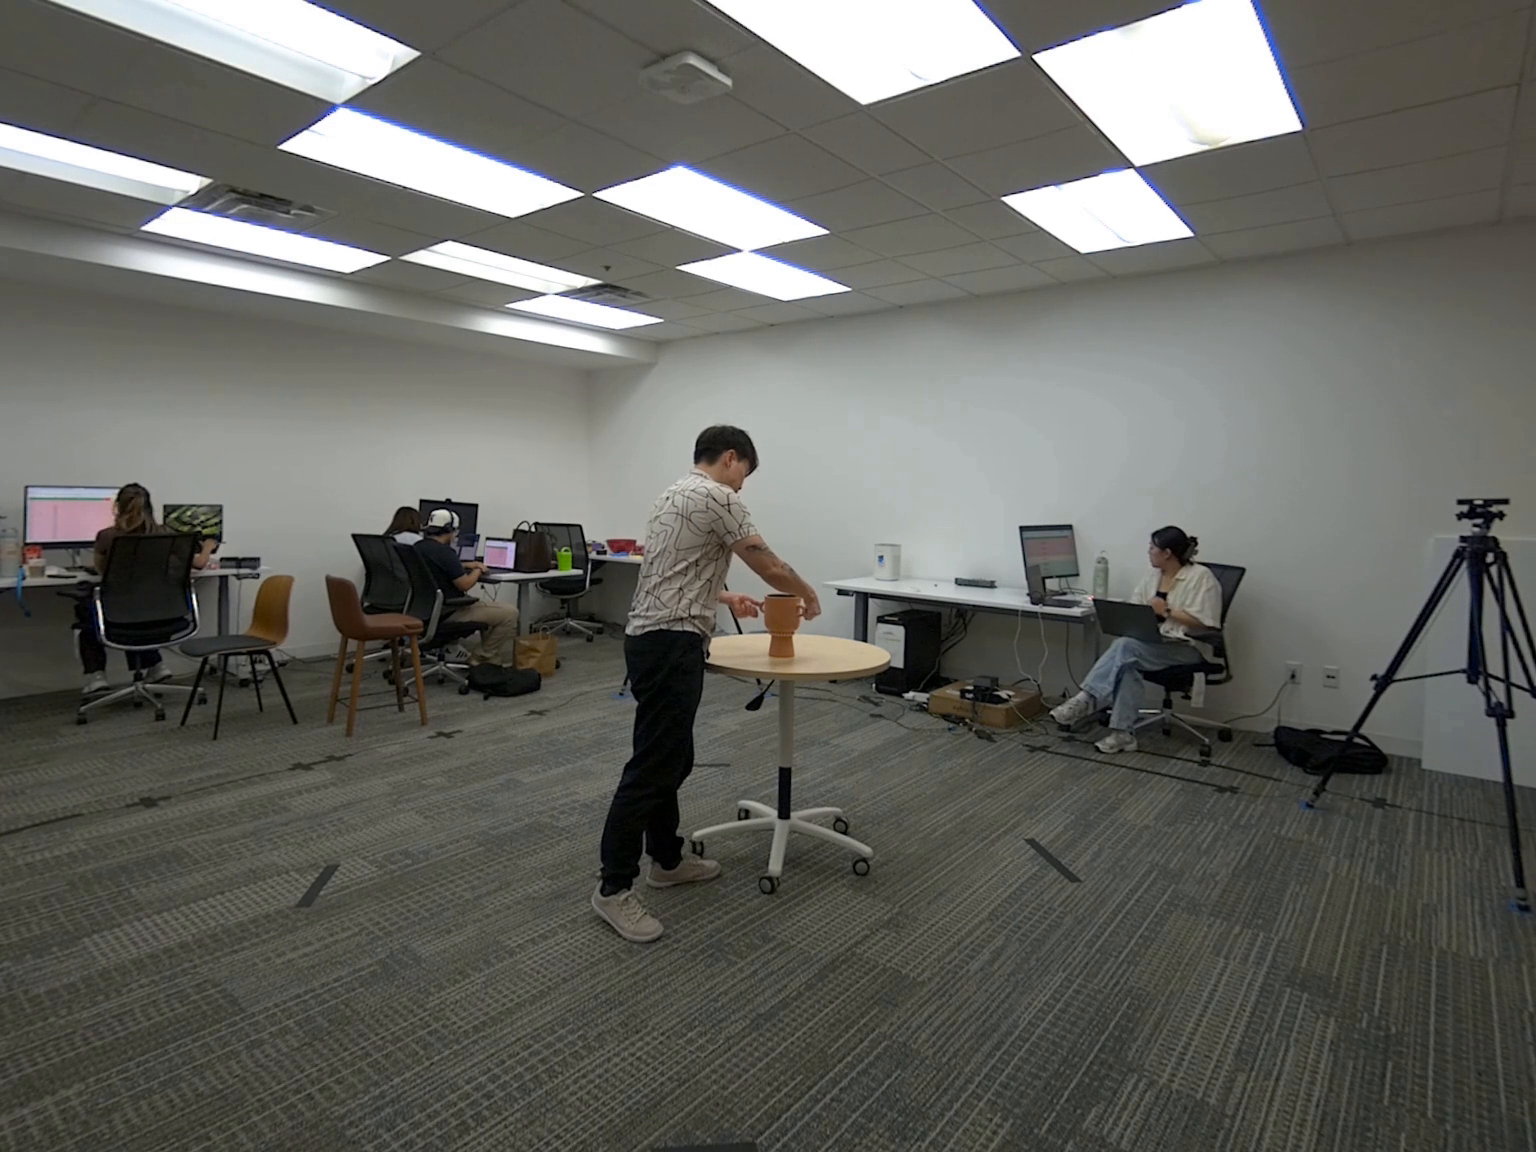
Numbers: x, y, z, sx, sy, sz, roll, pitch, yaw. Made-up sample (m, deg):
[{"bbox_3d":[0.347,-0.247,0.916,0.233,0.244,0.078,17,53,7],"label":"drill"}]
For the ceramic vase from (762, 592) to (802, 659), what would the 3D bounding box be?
[{"bbox_3d":[0.035,0.181,3.137,0.132,0.219,0.162,-2,5,-18],"label":"ceramic vase"}]
